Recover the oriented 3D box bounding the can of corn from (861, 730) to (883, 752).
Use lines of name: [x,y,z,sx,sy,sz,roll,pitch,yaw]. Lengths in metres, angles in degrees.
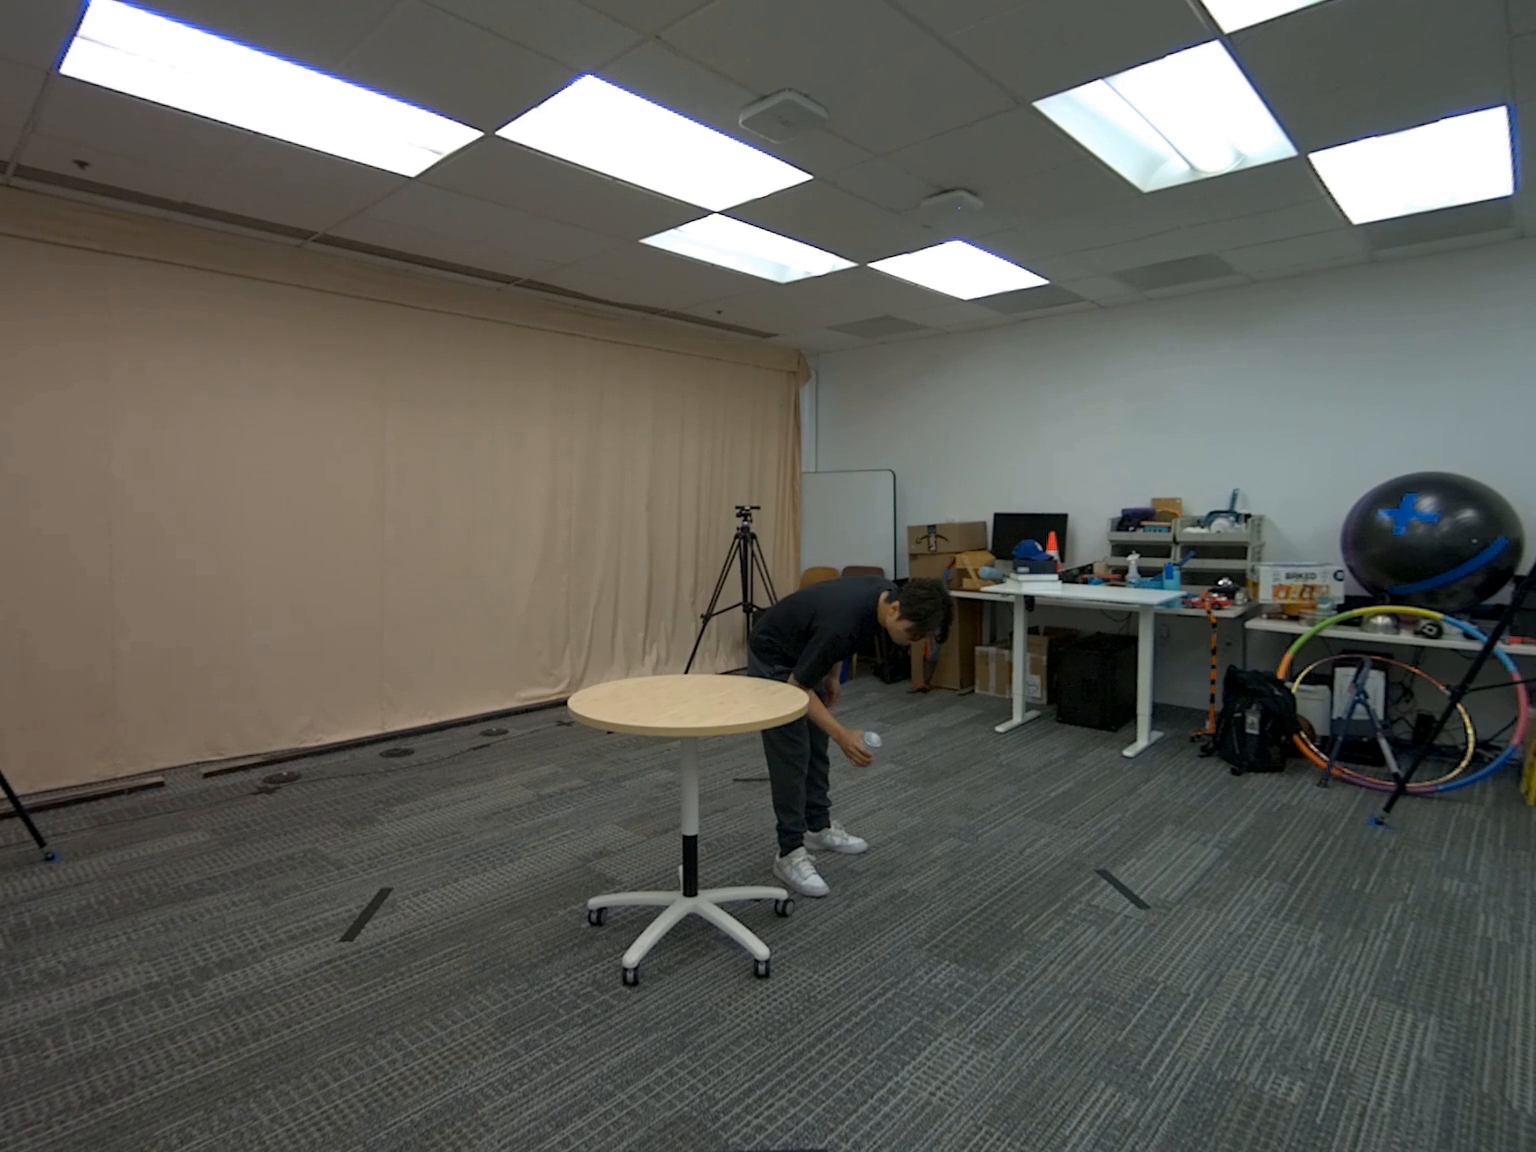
can of corn: [0.350,0.591,2.932,0.074,0.110,0.075,8,34,-7]
